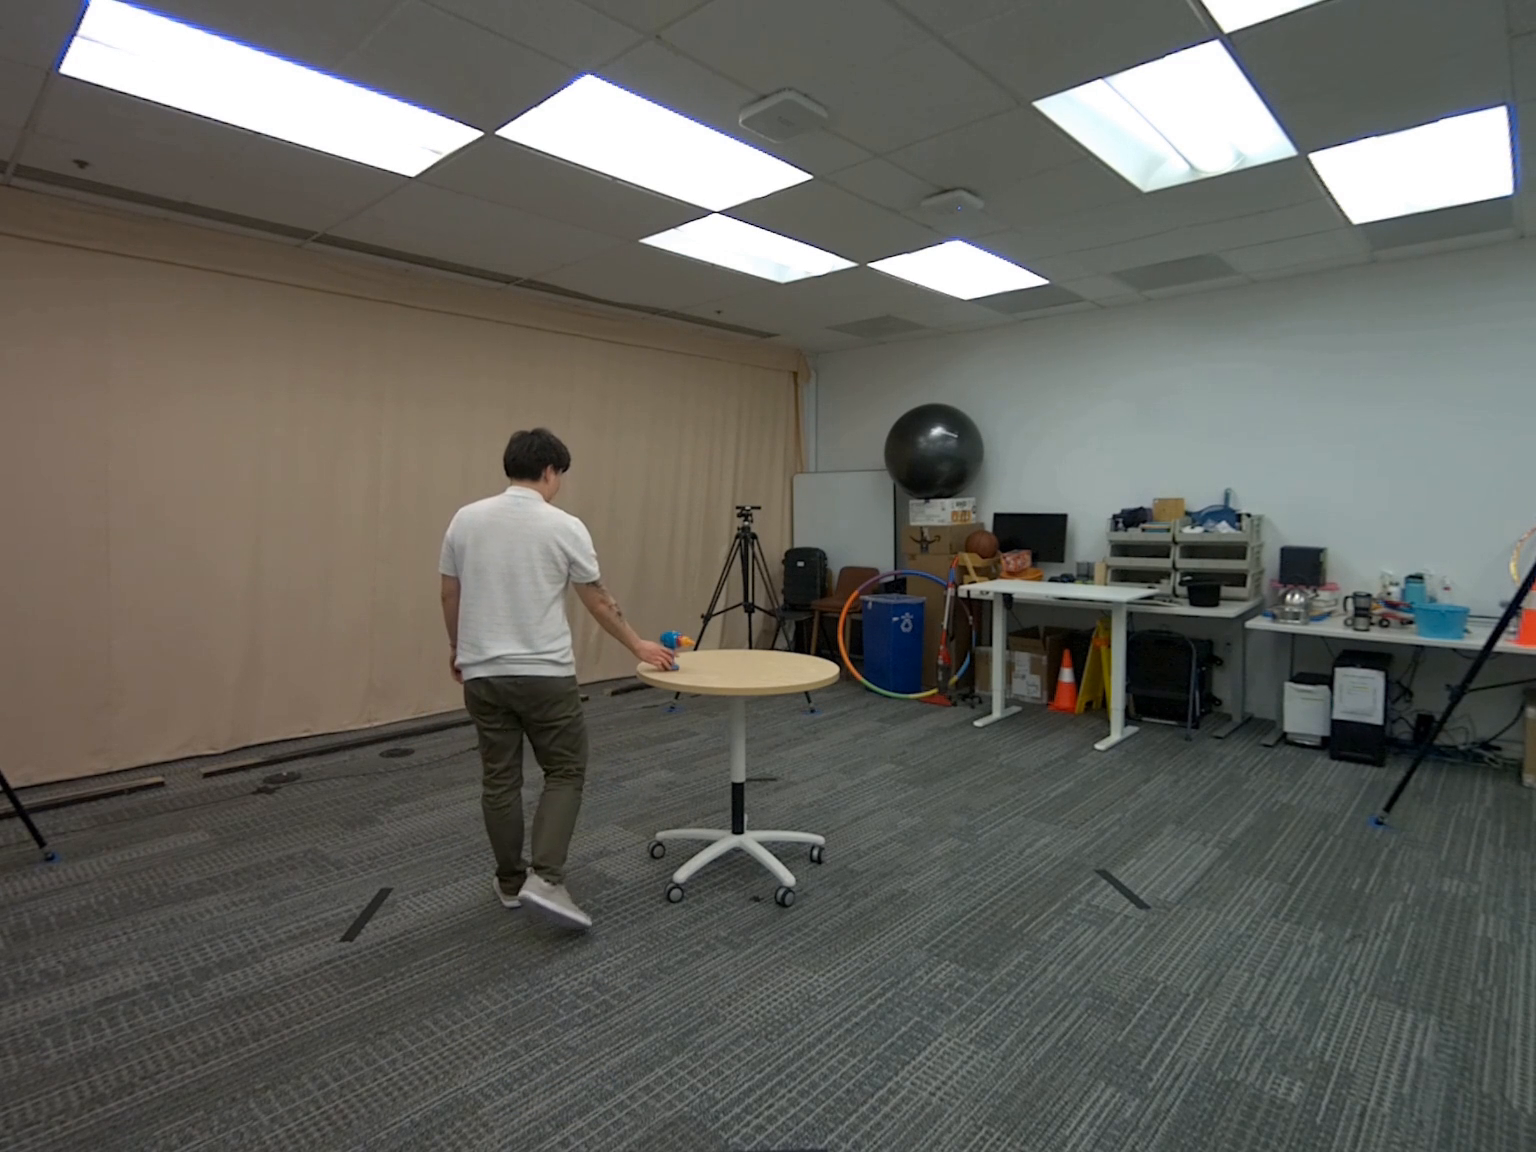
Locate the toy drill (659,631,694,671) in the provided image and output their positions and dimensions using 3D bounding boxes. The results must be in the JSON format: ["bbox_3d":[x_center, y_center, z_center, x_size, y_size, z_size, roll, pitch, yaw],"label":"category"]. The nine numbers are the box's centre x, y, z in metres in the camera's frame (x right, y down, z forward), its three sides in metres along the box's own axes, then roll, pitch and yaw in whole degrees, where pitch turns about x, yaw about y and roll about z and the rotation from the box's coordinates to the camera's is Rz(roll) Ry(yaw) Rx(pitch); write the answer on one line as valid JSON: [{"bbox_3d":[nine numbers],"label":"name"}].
[{"bbox_3d":[-0.329,0.277,3.108,0.175,0.146,0.059,2,5,33],"label":"toy drill"}]
